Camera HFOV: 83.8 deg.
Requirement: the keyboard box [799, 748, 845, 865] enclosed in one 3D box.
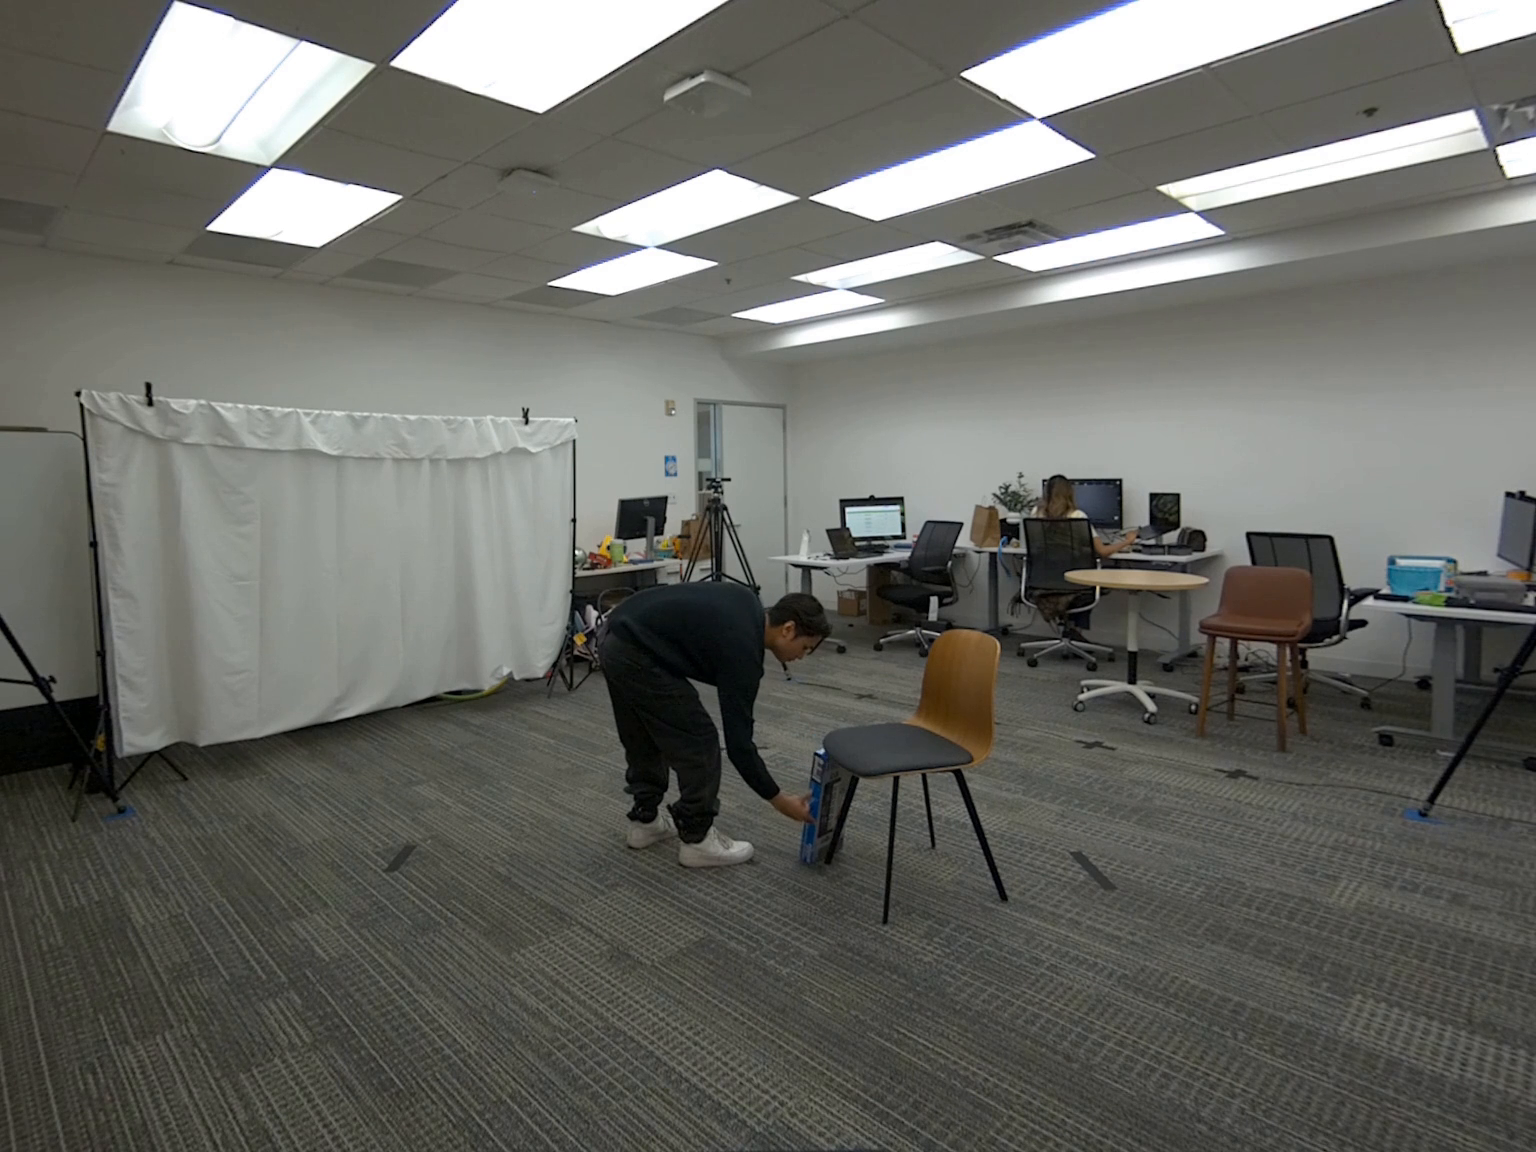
[{"bbox_3d":[0.216,0.813,3.092,0.172,0.431,0.061,-9,22,-40],"label":"keyboard box"}]
